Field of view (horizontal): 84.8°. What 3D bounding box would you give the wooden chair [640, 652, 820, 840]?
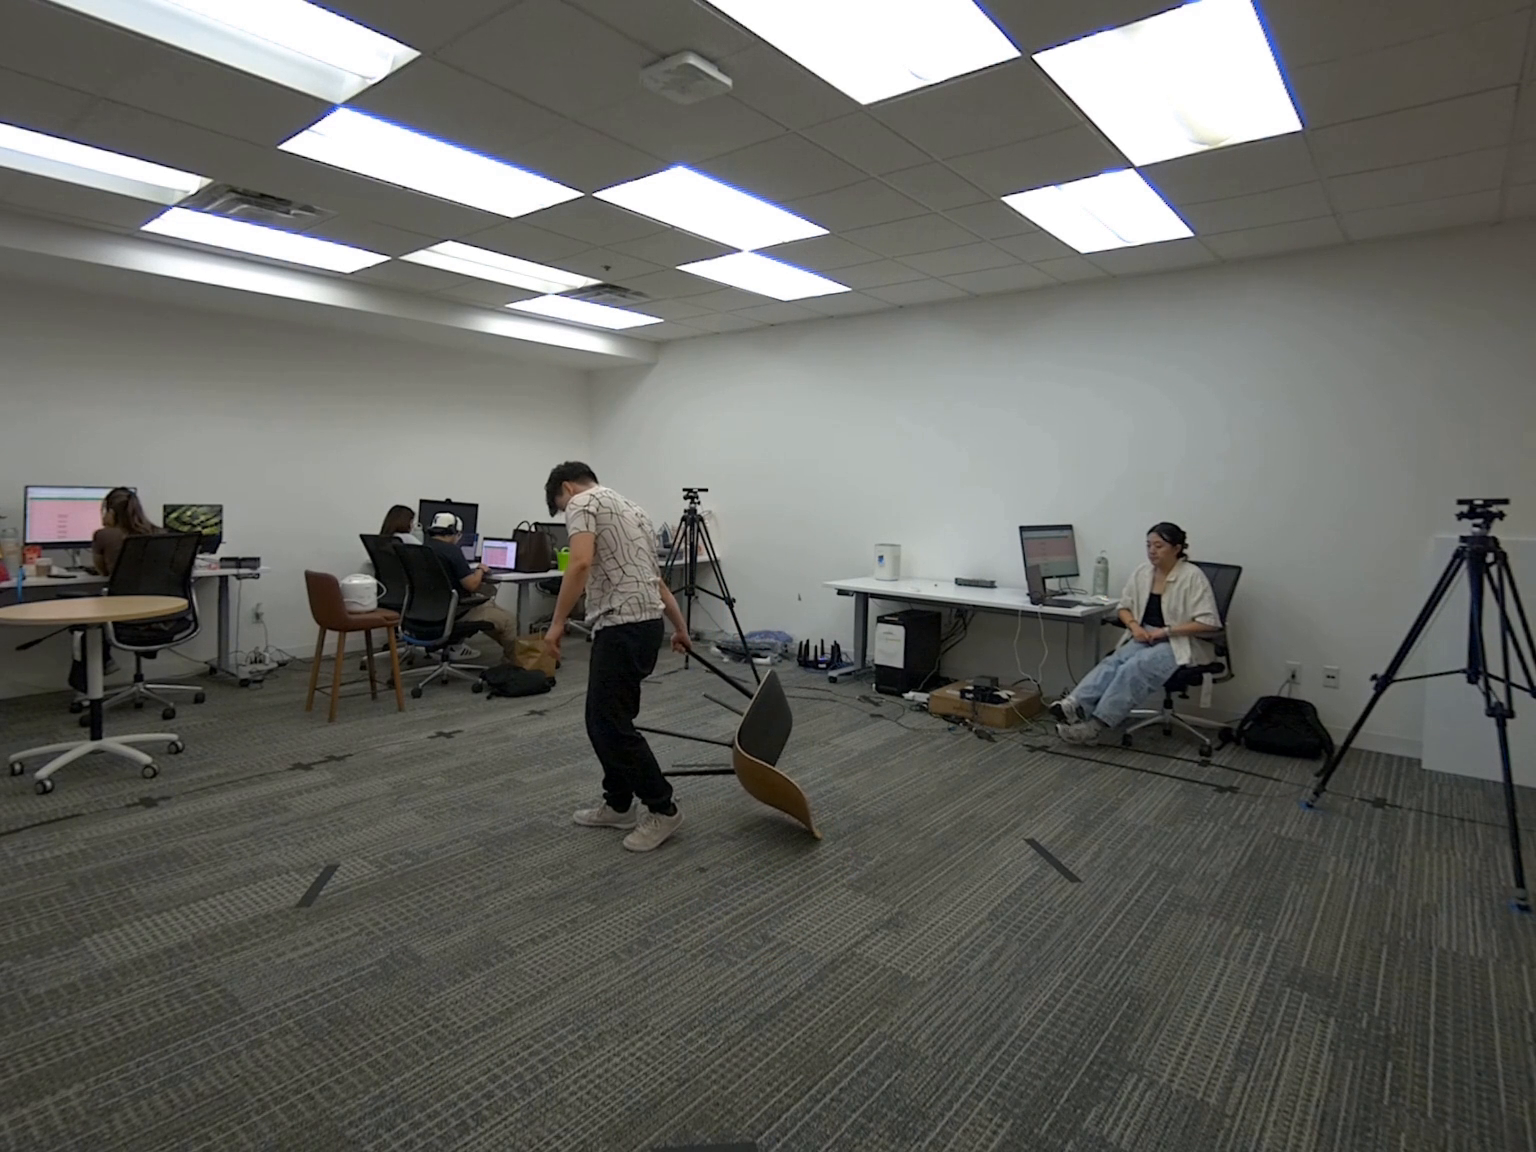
[{"bbox_3d":[-0.081,0.682,3.625,0.908,0.525,0.460,16,-34,31],"label":"wooden chair"}]
